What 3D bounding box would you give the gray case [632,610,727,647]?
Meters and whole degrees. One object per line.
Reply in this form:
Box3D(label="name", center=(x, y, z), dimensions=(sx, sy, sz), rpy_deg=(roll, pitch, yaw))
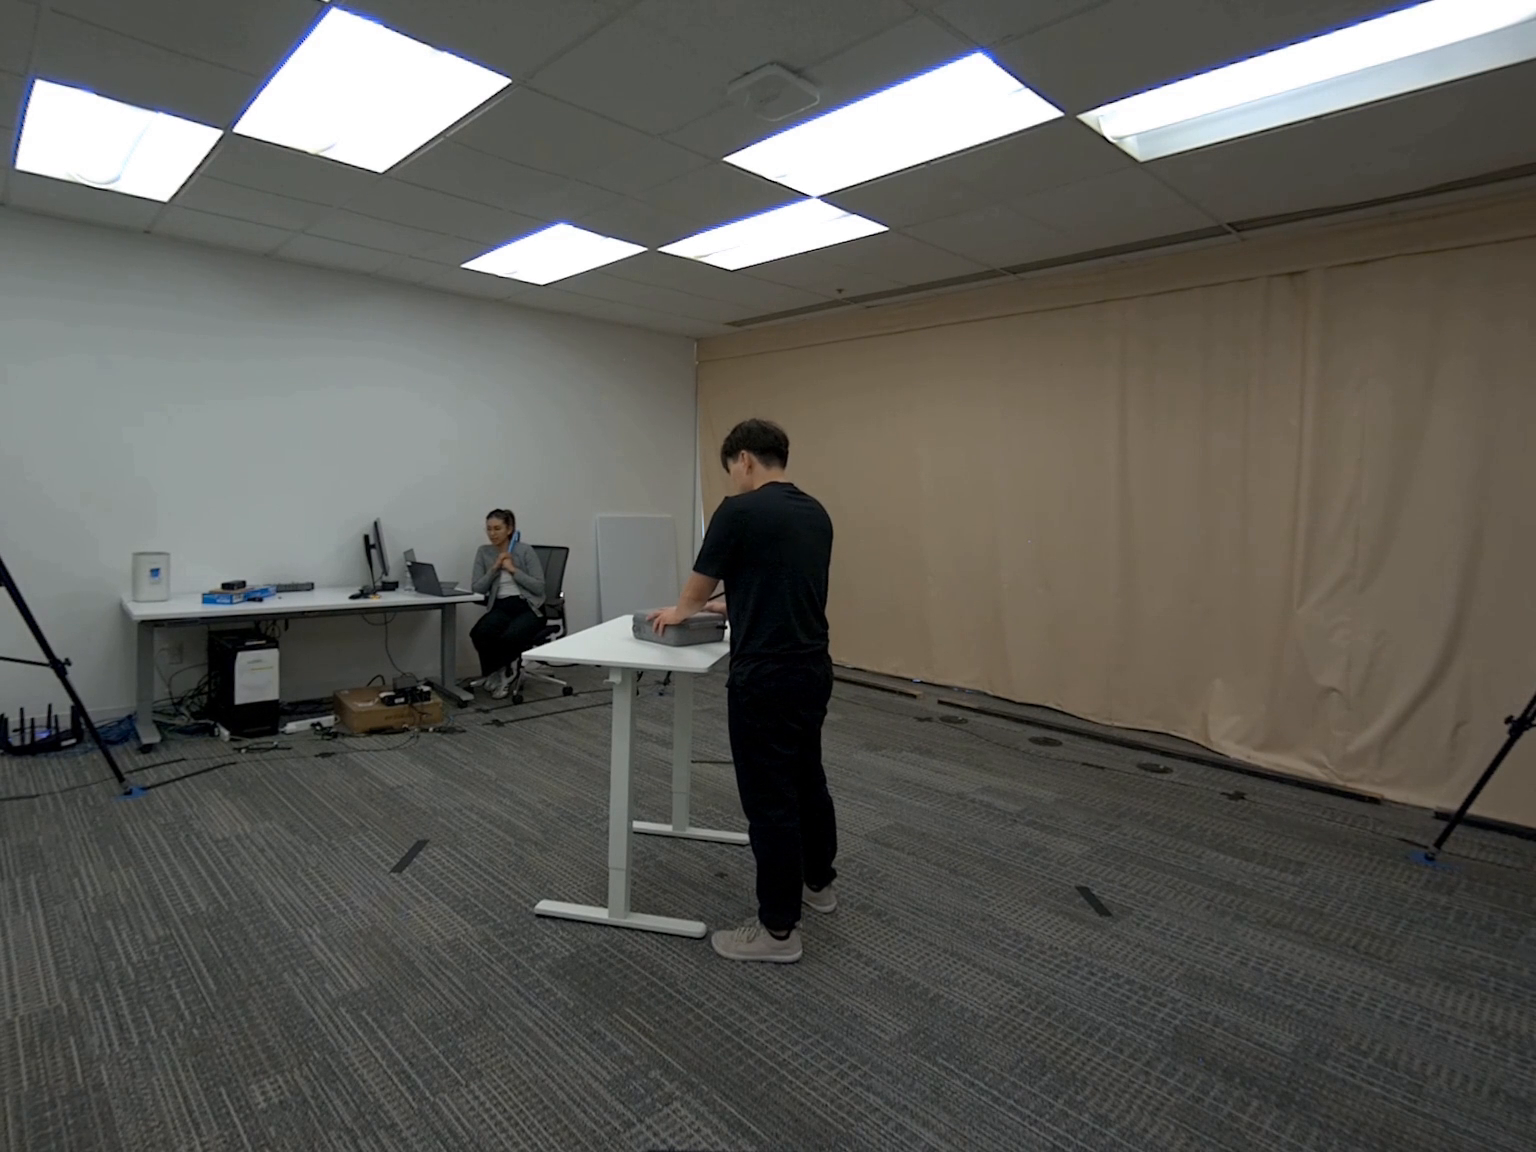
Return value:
Box3D(label="gray case", center=(-0.326, 0.176, 3.006), dimensions=(0.267, 0.104, 0.251), rpy_deg=(7, 8, 42))
